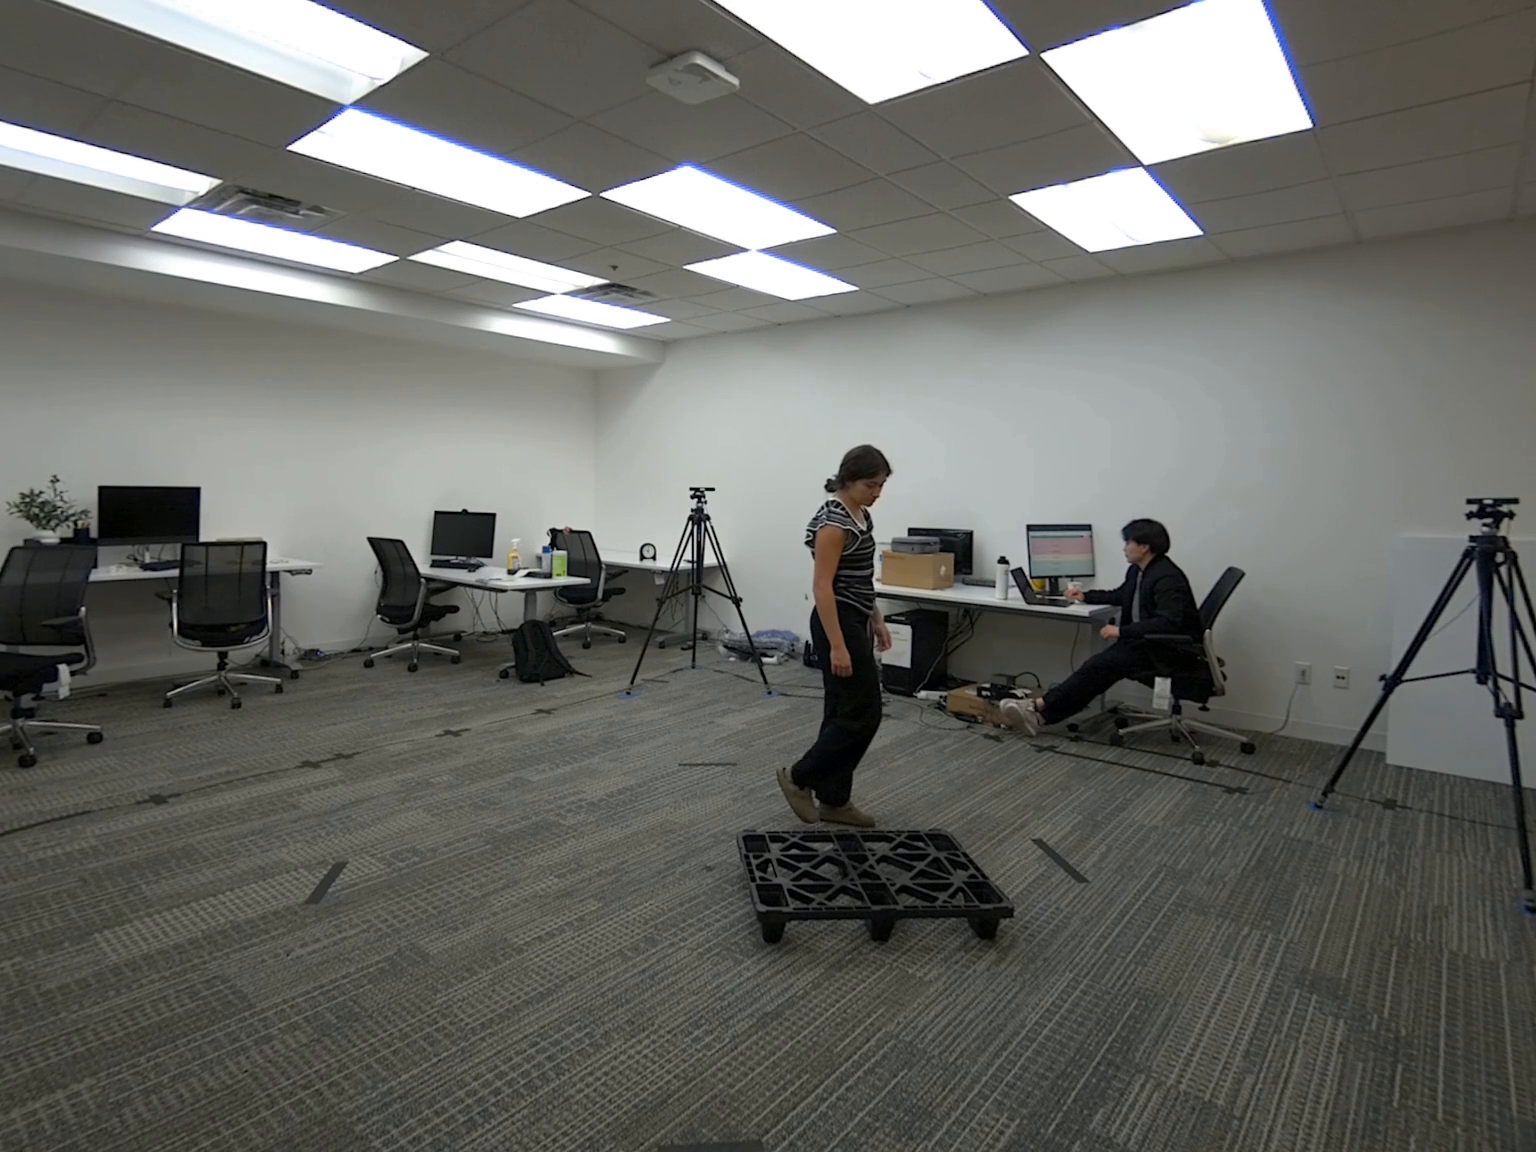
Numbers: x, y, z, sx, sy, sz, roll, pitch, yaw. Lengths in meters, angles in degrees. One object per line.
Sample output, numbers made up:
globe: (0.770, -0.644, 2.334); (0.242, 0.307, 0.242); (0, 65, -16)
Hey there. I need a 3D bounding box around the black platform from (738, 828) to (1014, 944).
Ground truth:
black platform: (0.313, 1.035, 2.862); (0.801, 0.142, 0.612); (0, 6, -6)
